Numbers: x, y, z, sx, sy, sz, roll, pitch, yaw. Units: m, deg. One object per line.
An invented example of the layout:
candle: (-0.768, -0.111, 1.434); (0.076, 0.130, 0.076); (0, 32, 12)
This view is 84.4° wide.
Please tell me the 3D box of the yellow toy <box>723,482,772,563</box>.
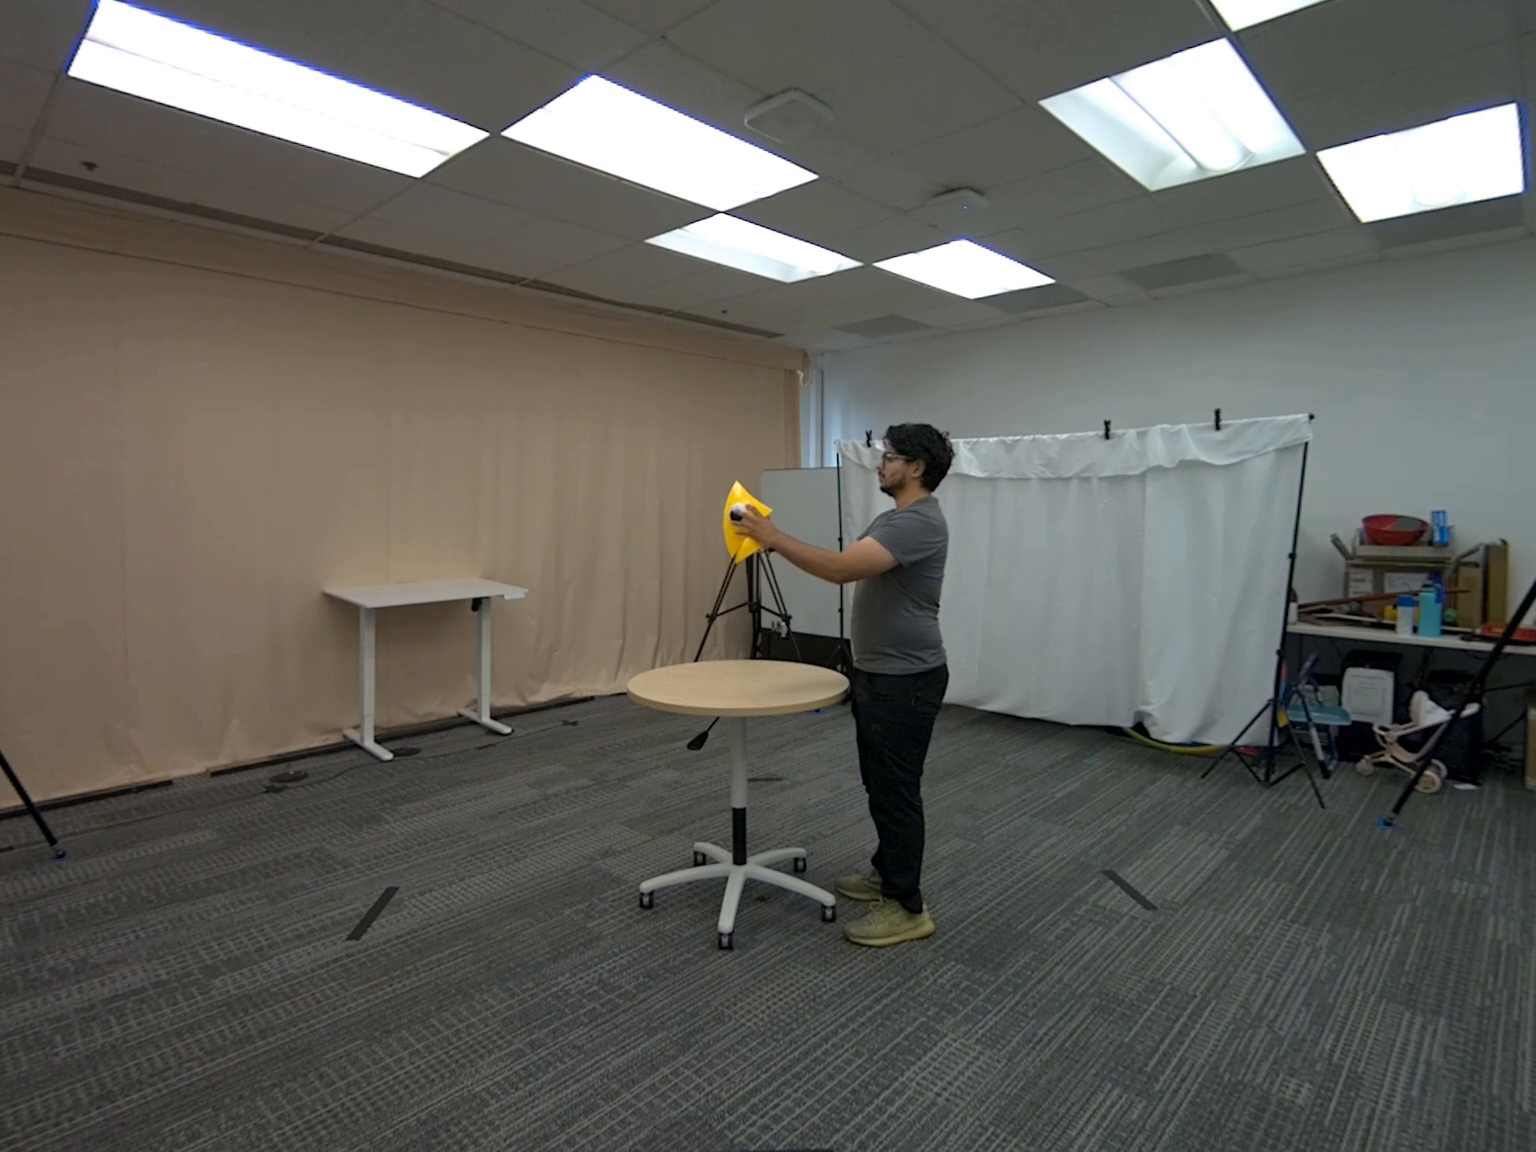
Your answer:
yellow toy: (-0.088, -0.185, 2.818); (0.192, 0.231, 0.205); (-31, -1, -4)
